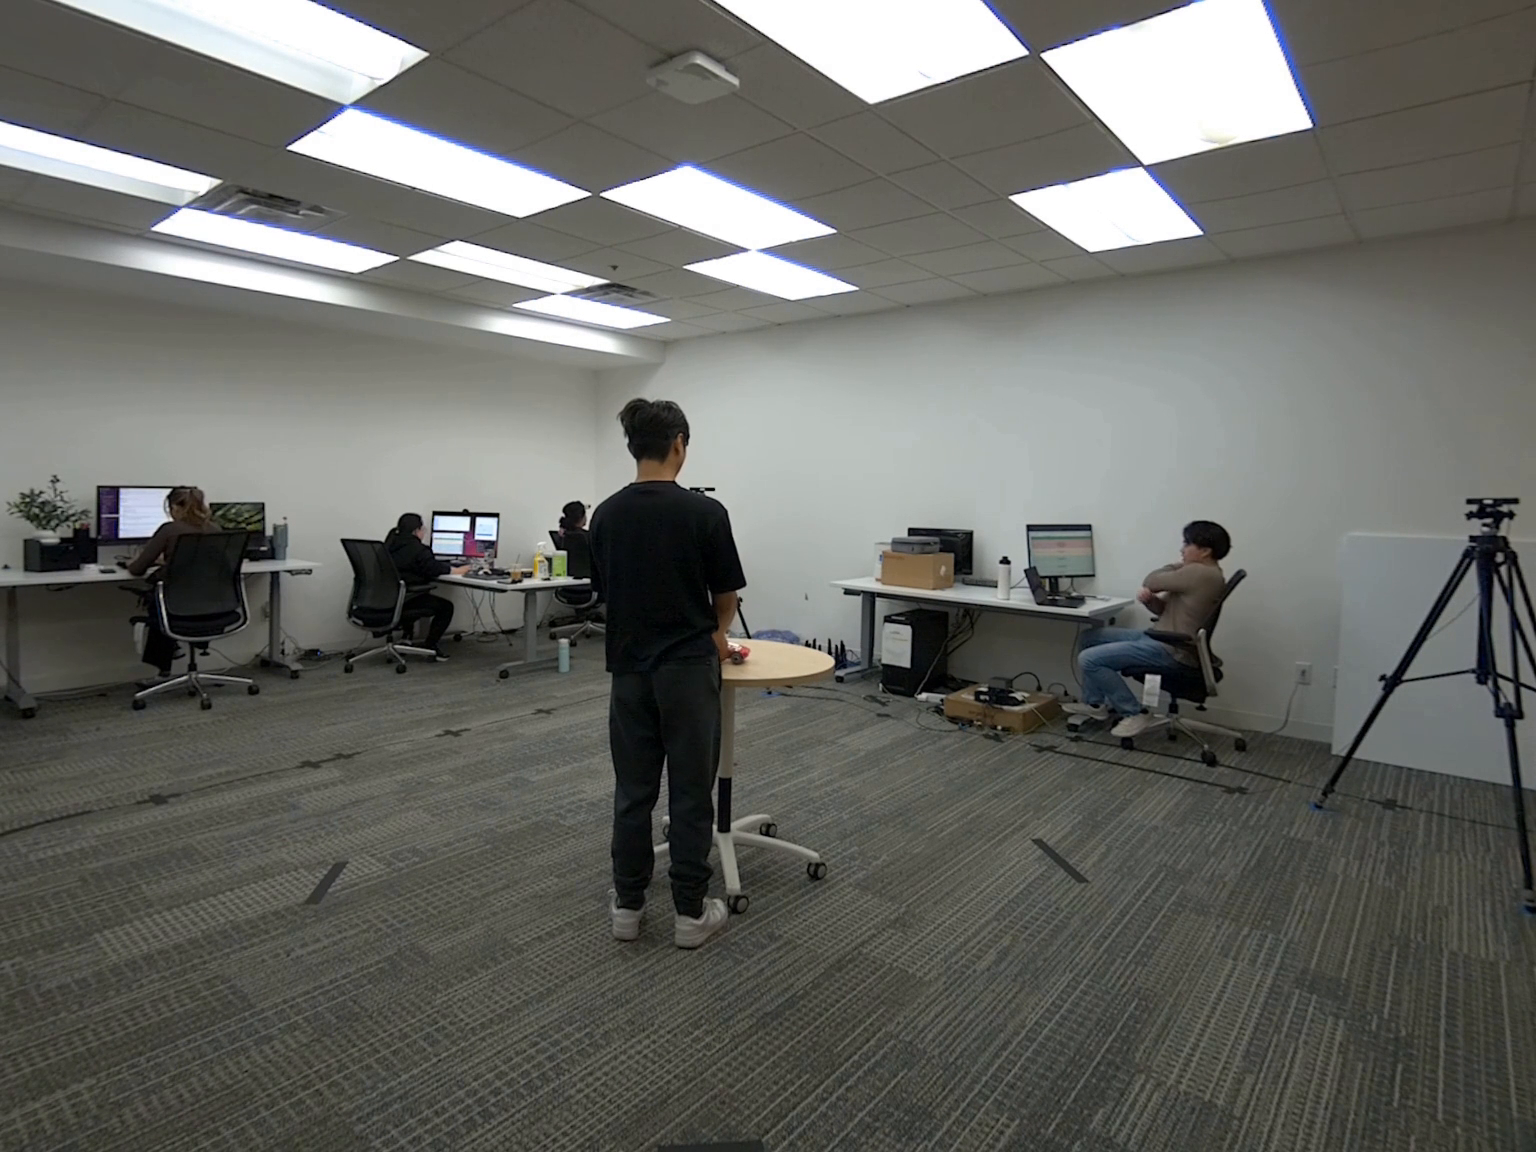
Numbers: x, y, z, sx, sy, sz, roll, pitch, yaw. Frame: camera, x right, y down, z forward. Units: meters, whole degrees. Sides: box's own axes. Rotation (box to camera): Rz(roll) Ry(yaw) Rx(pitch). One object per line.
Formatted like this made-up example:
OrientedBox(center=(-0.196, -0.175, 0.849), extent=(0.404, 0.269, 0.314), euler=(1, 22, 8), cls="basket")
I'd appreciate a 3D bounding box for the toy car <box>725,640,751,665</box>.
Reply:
OrientedBox(center=(-0.194, 0.252, 2.996), extent=(0.257, 0.083, 0.129), euler=(16, 8, 8), cls="toy car")
